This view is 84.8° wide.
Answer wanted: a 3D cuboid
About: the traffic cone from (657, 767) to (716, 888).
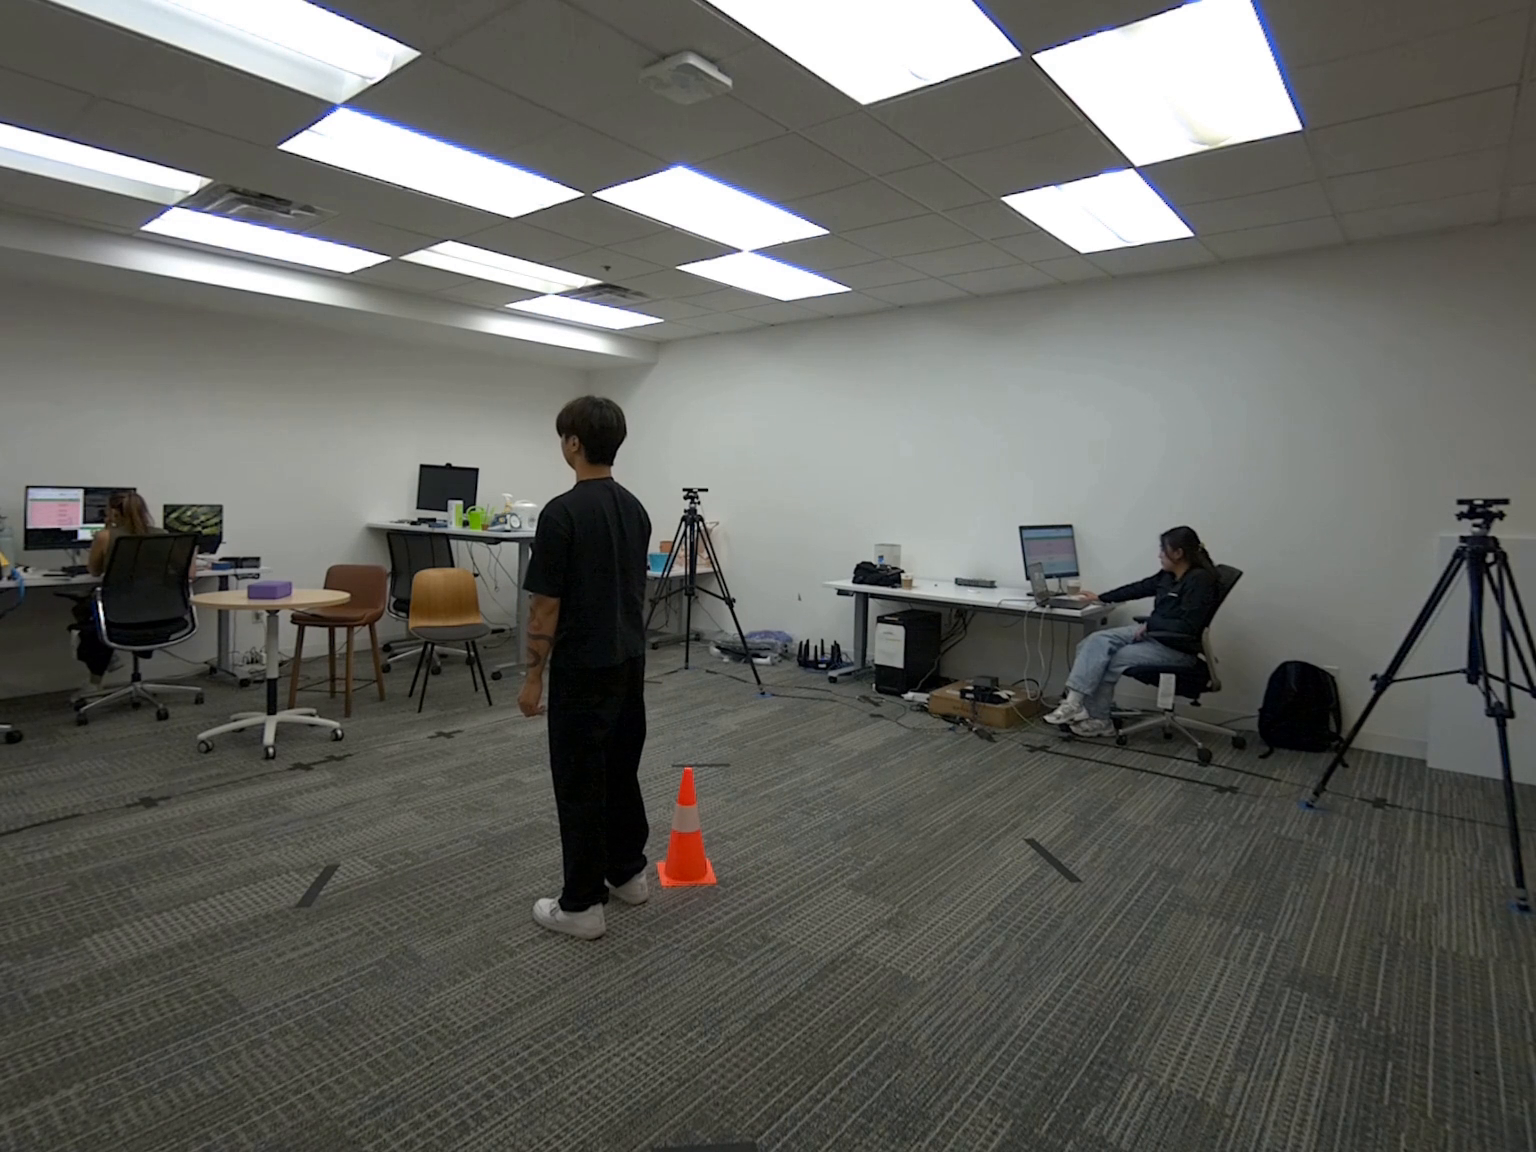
[{"bbox_3d":[-0.298,0.889,3.076,0.203,0.383,0.206,1,3,-10],"label":"traffic cone"}]
